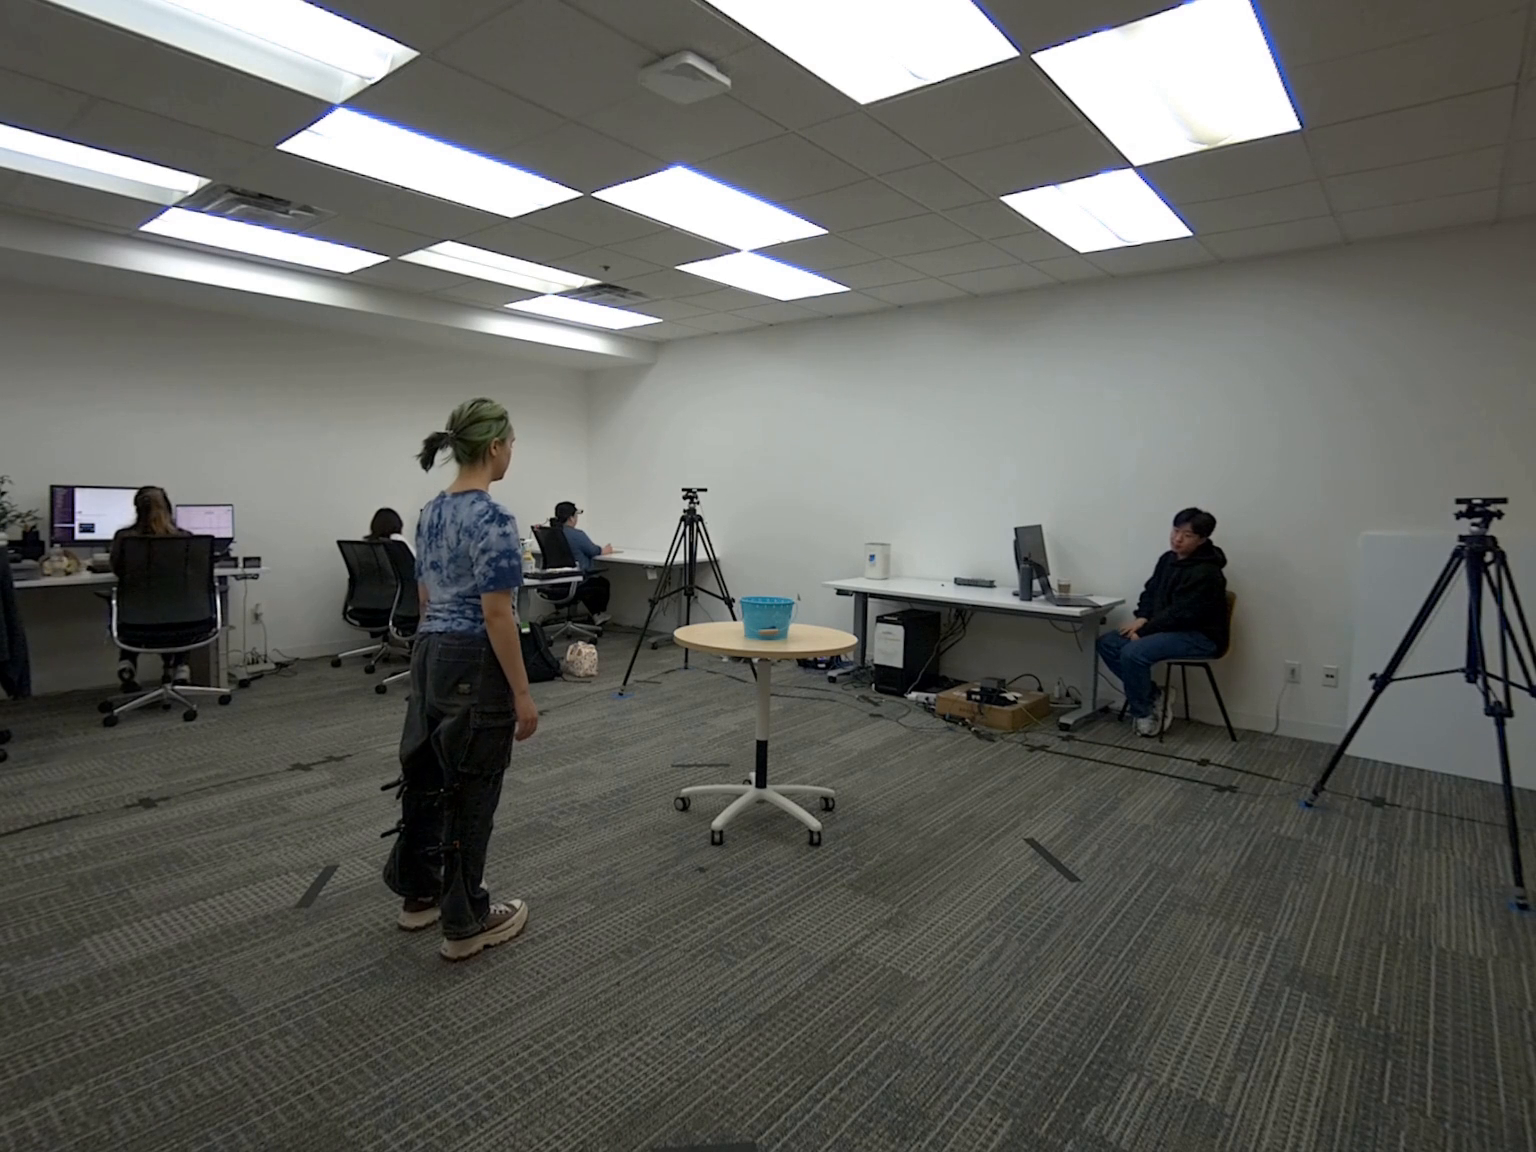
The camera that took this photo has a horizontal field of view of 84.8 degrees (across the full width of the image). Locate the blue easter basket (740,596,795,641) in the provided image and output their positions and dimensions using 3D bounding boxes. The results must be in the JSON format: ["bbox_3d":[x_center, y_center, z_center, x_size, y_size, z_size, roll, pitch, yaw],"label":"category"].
[{"bbox_3d":[-0.018,0.174,3.531,0.243,0.155,0.245,2,4,-2],"label":"blue easter basket"}]
